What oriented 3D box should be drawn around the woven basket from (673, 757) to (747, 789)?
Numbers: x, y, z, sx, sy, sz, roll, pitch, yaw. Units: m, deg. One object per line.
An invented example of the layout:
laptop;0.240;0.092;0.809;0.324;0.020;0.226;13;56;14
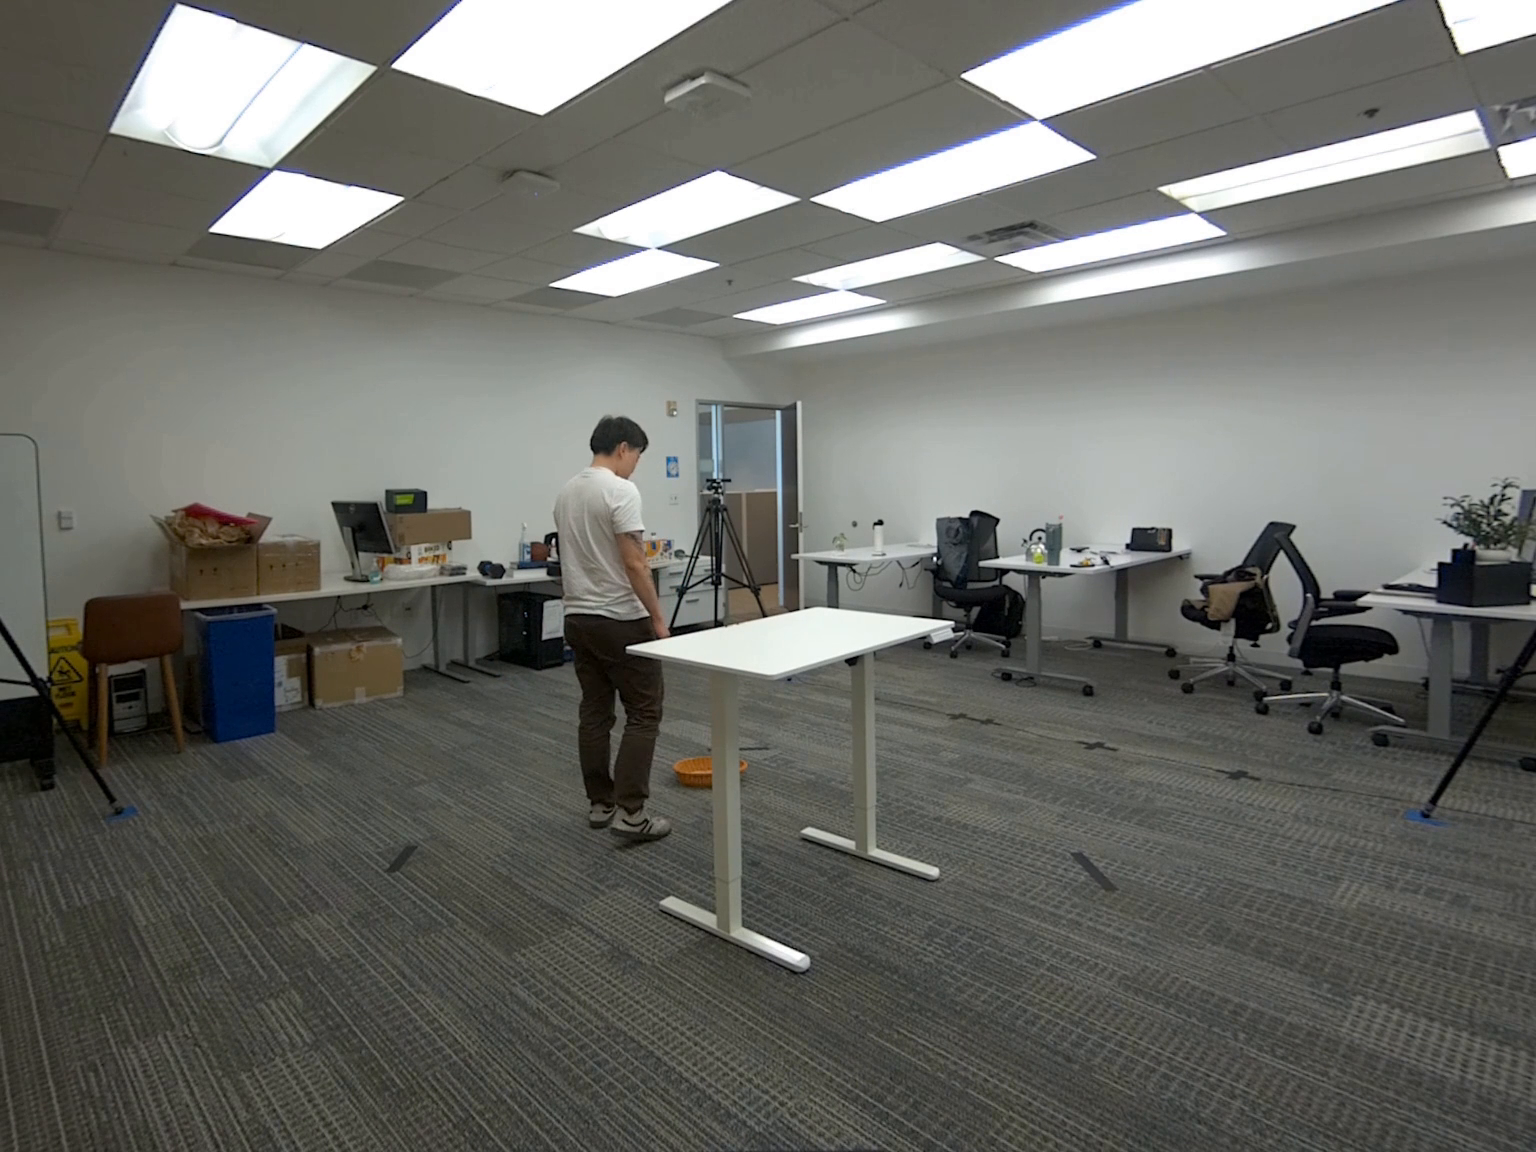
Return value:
woven basket;-0.271;0.914;3.986;0.351;0.073;0.253;-1;5;2
